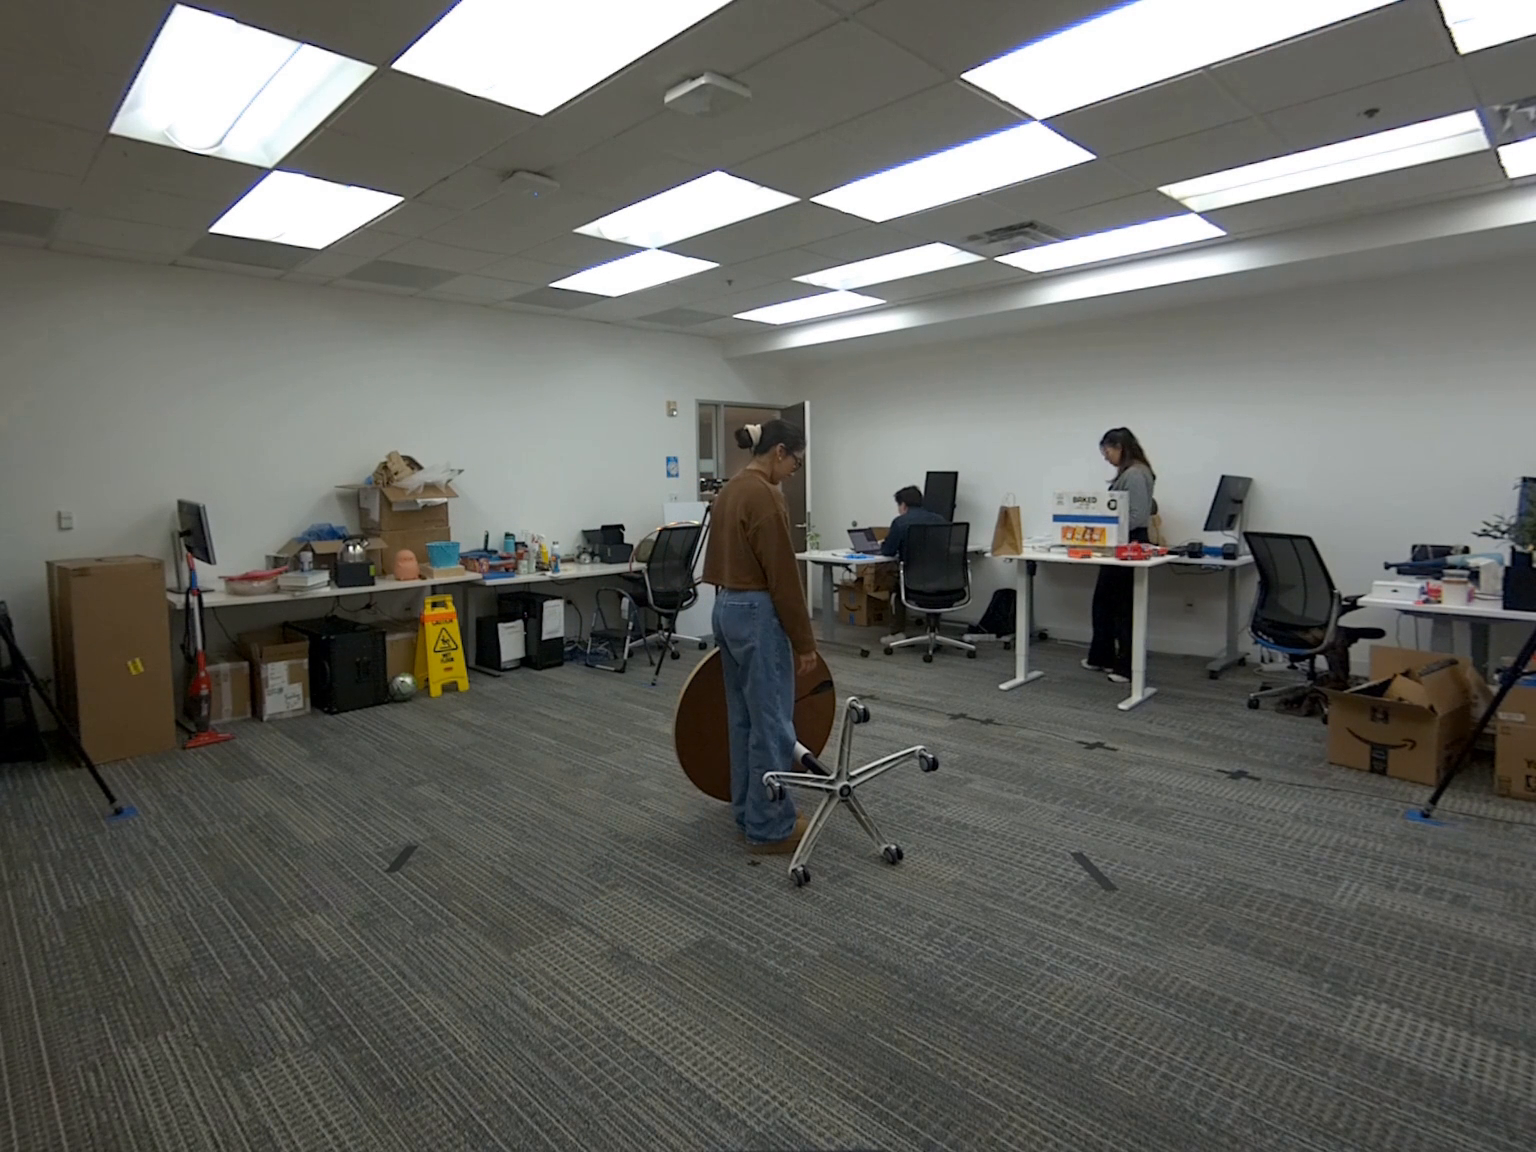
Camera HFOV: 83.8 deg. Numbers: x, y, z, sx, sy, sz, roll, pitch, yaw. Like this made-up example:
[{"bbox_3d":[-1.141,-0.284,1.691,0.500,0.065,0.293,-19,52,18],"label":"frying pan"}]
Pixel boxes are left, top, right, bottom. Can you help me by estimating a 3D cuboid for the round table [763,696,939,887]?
[{"bbox_3d":[0.137,0.684,3.298,0.748,0.757,0.819,-3,13,-26],"label":"round table"}]
